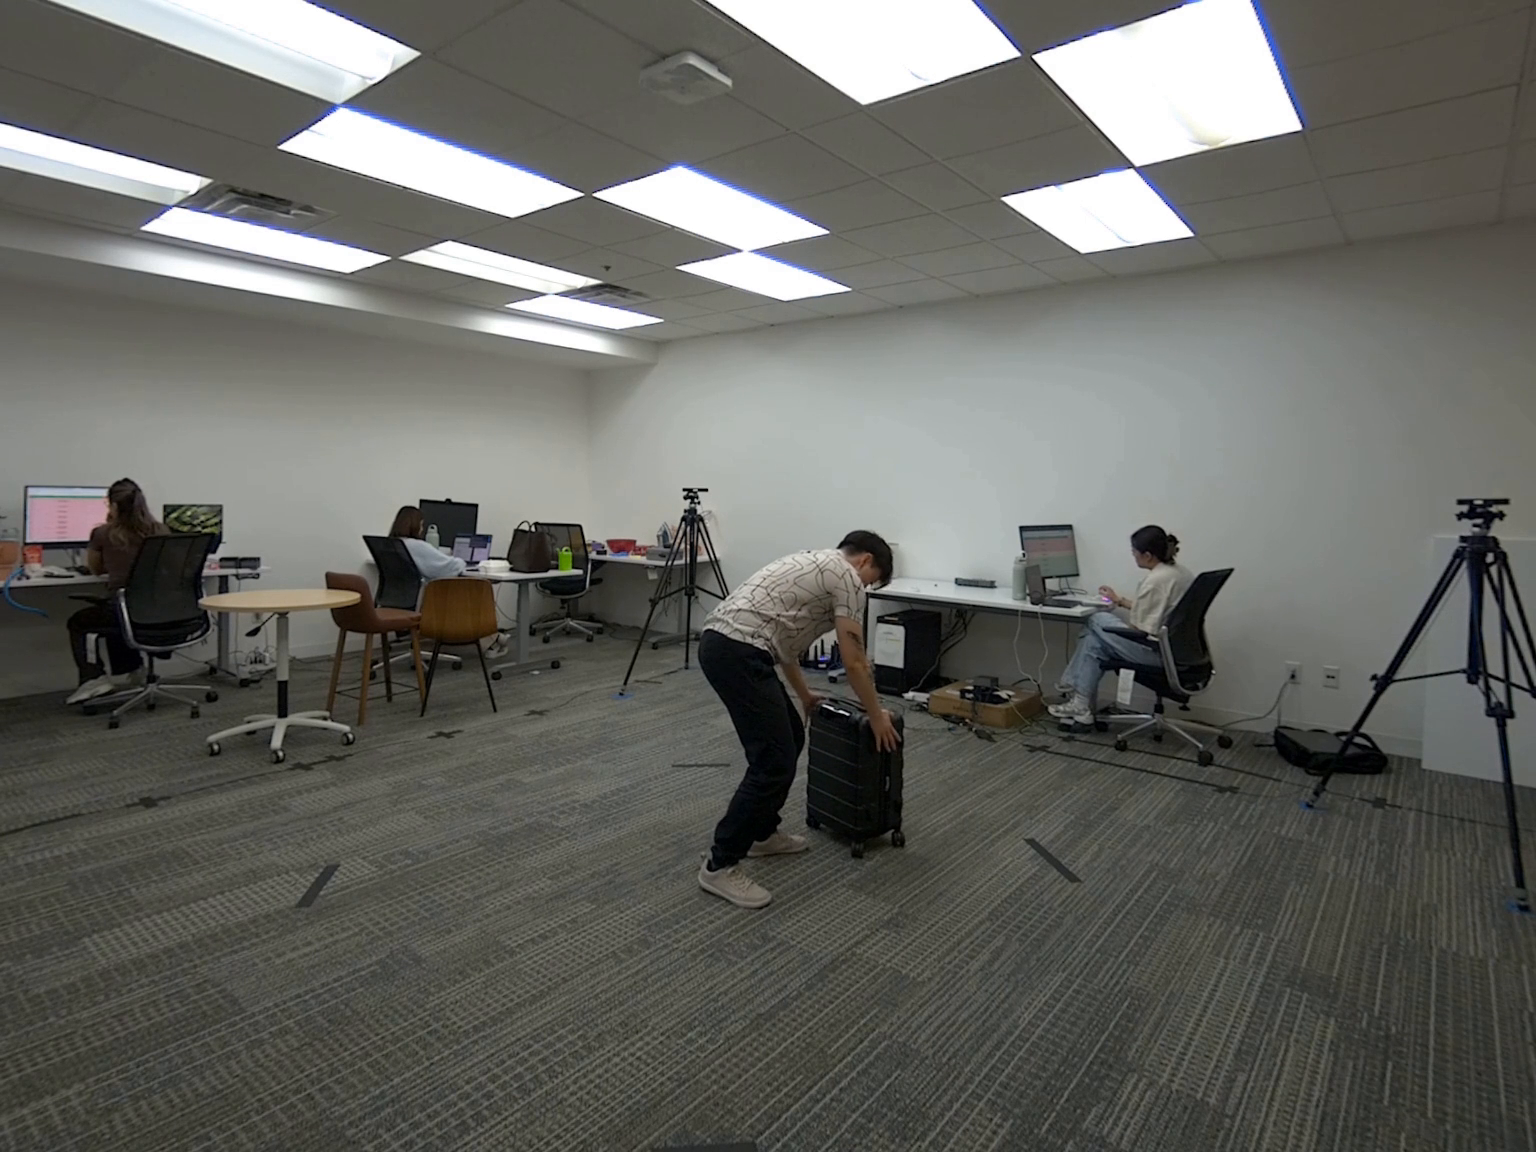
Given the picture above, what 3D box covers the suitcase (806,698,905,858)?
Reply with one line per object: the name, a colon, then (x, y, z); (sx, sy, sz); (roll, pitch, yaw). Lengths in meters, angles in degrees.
suitcase: (0.345, 0.775, 3.442); (0.241, 0.548, 0.387); (0, 4, -34)
